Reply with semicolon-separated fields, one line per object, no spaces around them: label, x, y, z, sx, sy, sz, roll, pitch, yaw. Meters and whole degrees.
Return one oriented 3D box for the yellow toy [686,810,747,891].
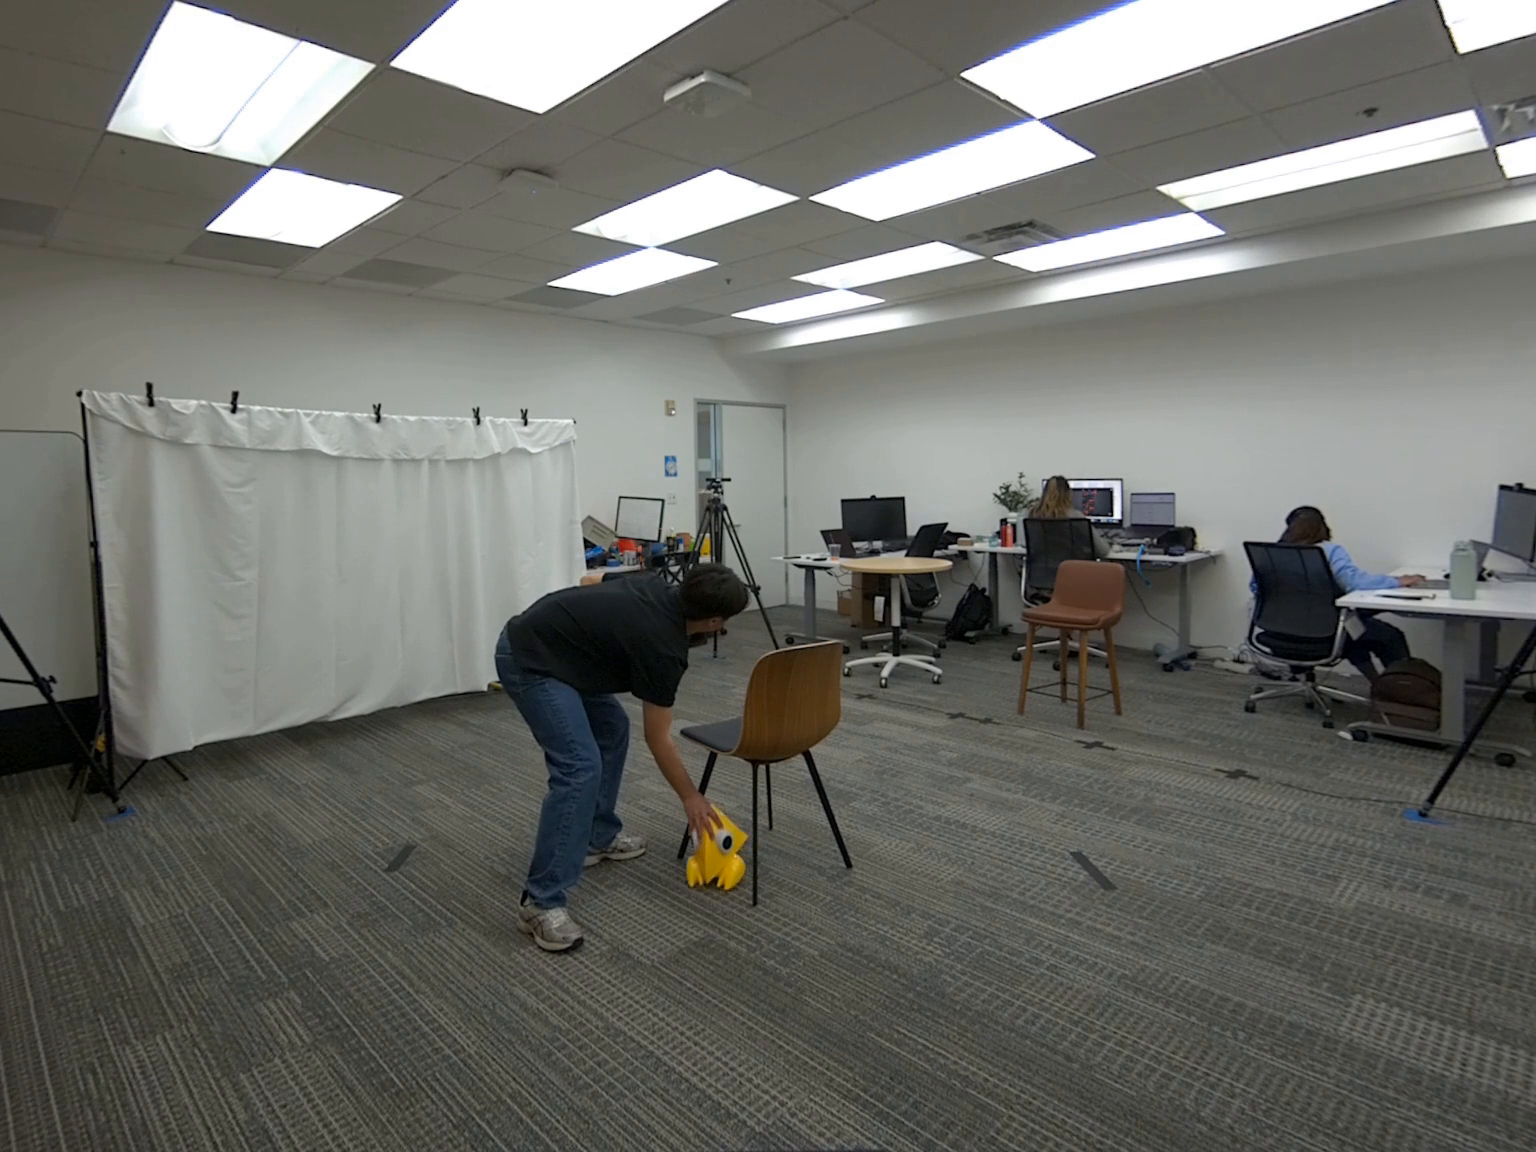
yellow toy;-0.198;0.923;2.944;0.208;0.227;0.193;0;19;19
